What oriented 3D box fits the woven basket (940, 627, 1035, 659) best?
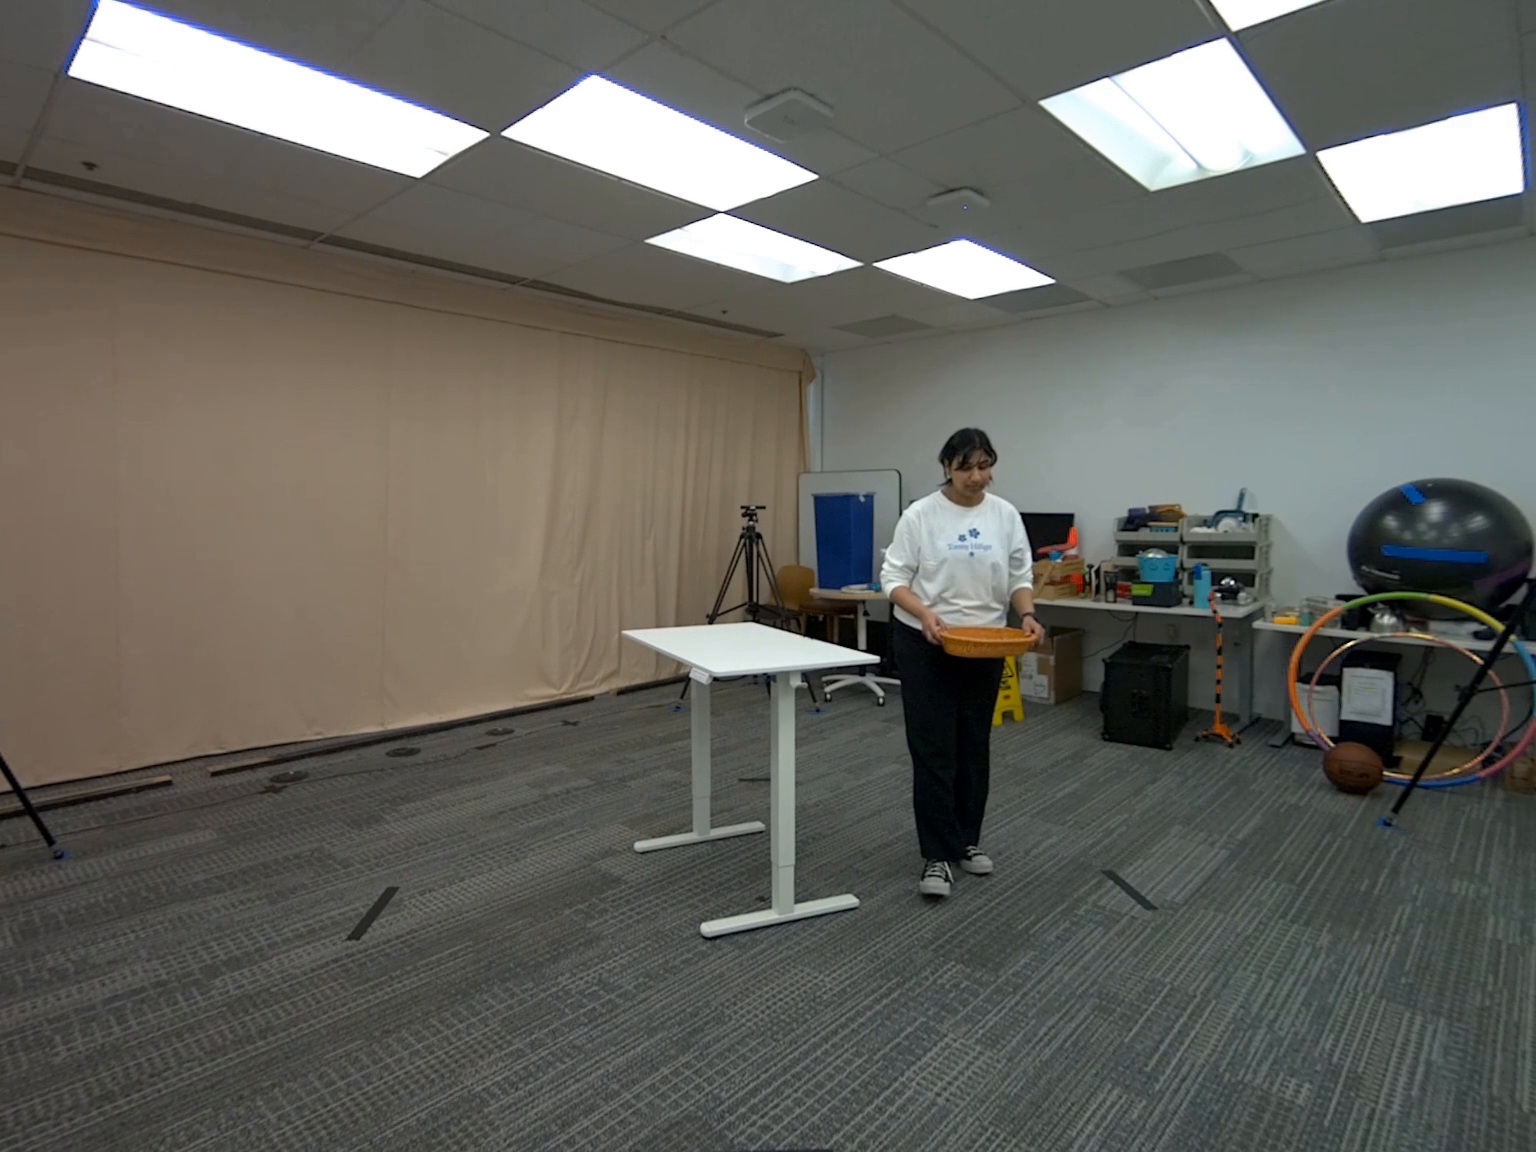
[{"bbox_3d":[0.781,0.236,2.967,0.346,0.073,0.256,-1,6,-11],"label":"woven basket"}]
